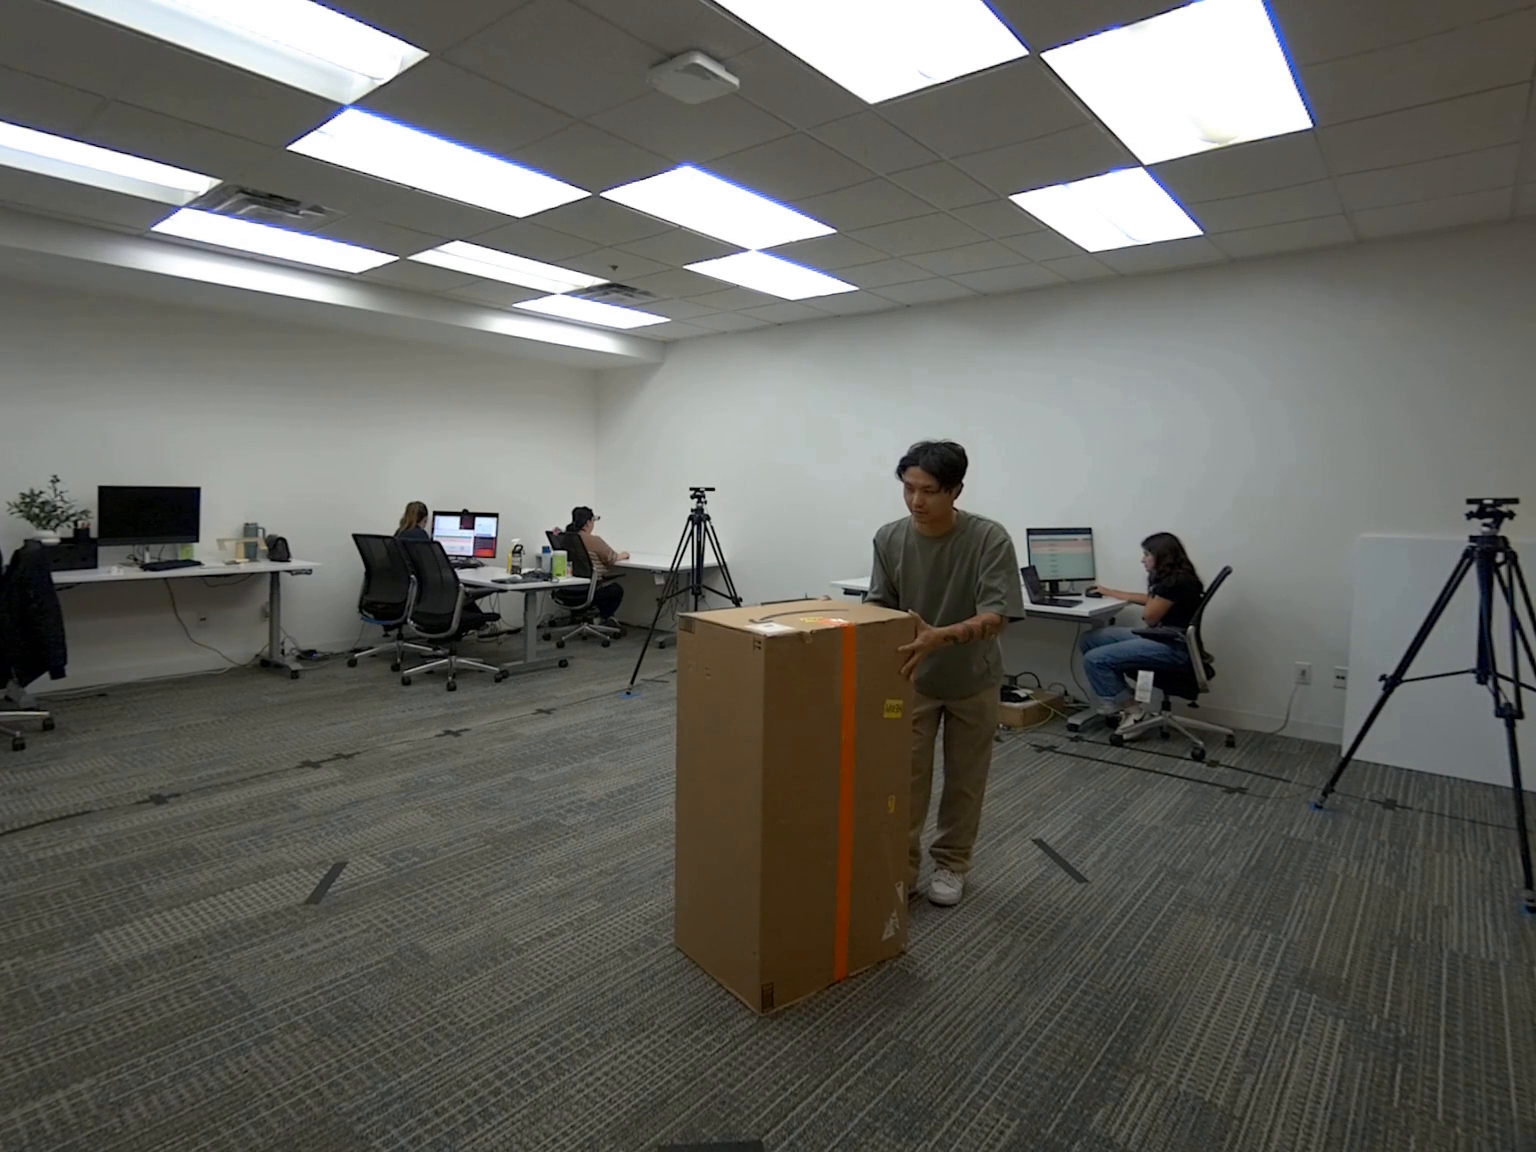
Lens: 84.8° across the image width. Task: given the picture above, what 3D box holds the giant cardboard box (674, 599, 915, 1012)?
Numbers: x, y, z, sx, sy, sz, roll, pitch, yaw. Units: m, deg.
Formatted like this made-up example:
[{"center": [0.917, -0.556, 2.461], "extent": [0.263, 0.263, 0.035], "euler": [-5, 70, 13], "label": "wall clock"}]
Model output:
[{"center": [0.069, 0.618, 2.537], "extent": [0.560, 1.022, 0.441], "euler": [-2, 5, -38], "label": "giant cardboard box"}]
